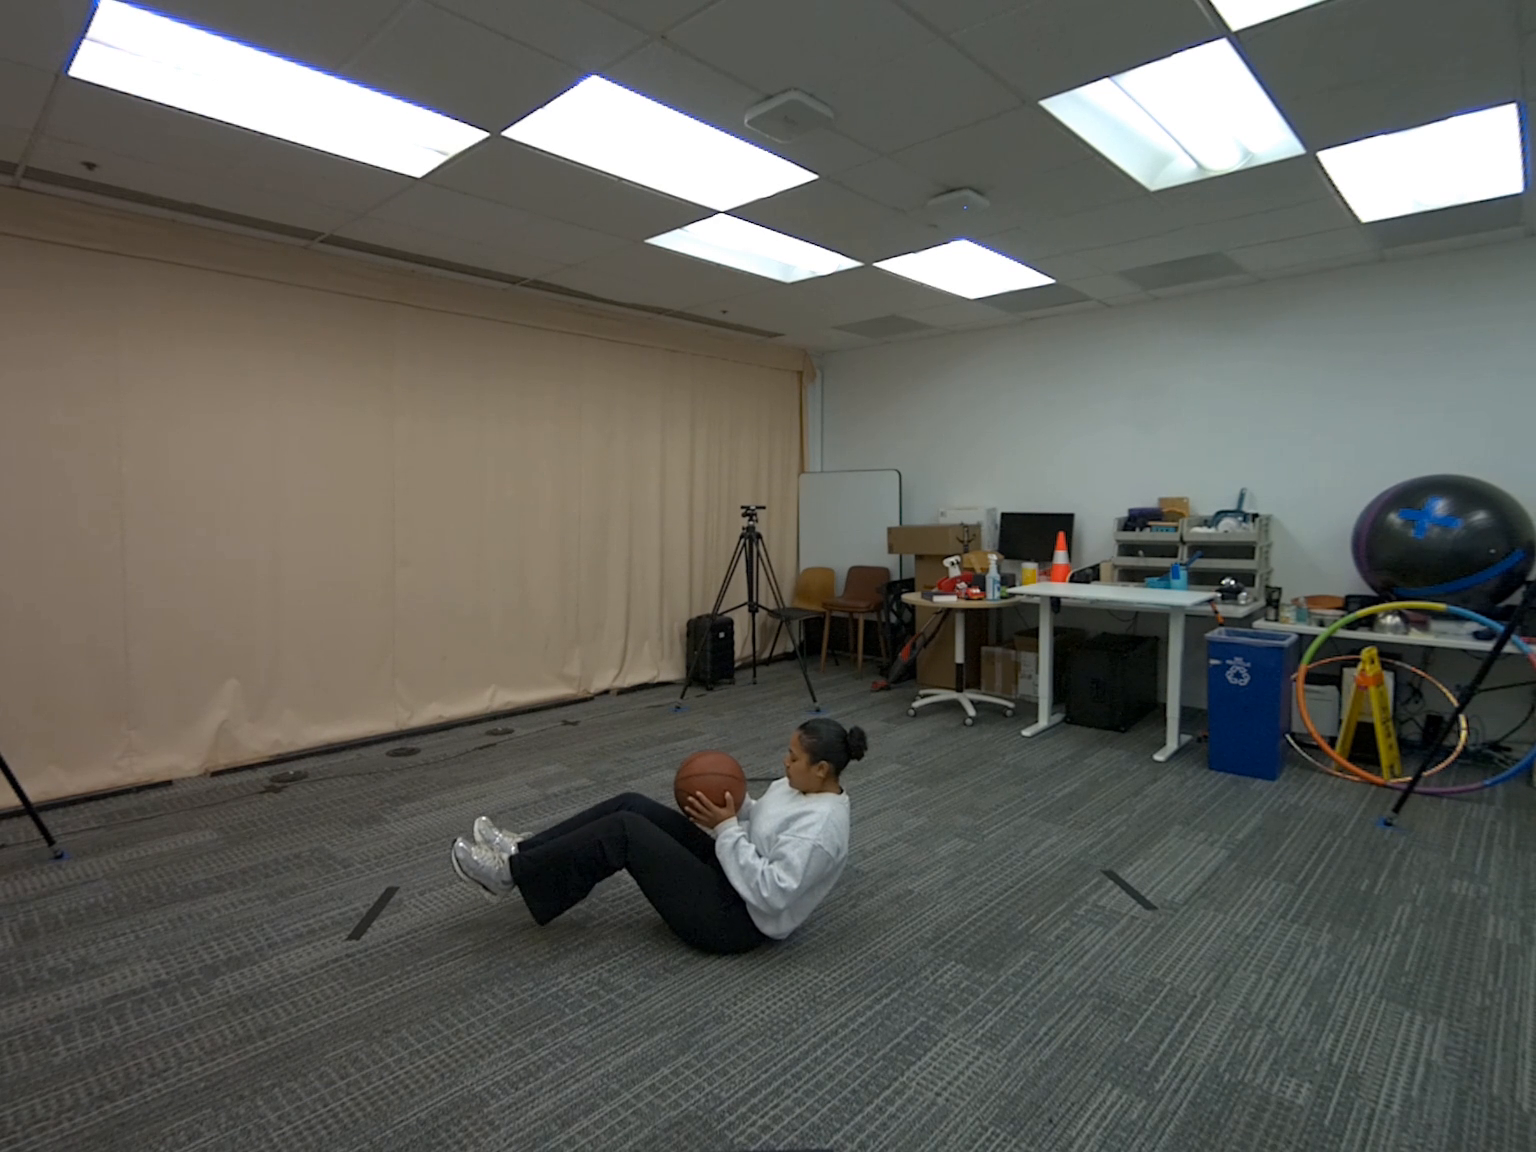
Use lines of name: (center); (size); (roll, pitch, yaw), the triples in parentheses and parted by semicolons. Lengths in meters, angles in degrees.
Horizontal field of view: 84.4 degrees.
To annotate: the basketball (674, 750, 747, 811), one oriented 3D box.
basketball: (-0.185, 0.689, 2.742); (0.236, 0.235, 0.237); (0, 4, -2)
